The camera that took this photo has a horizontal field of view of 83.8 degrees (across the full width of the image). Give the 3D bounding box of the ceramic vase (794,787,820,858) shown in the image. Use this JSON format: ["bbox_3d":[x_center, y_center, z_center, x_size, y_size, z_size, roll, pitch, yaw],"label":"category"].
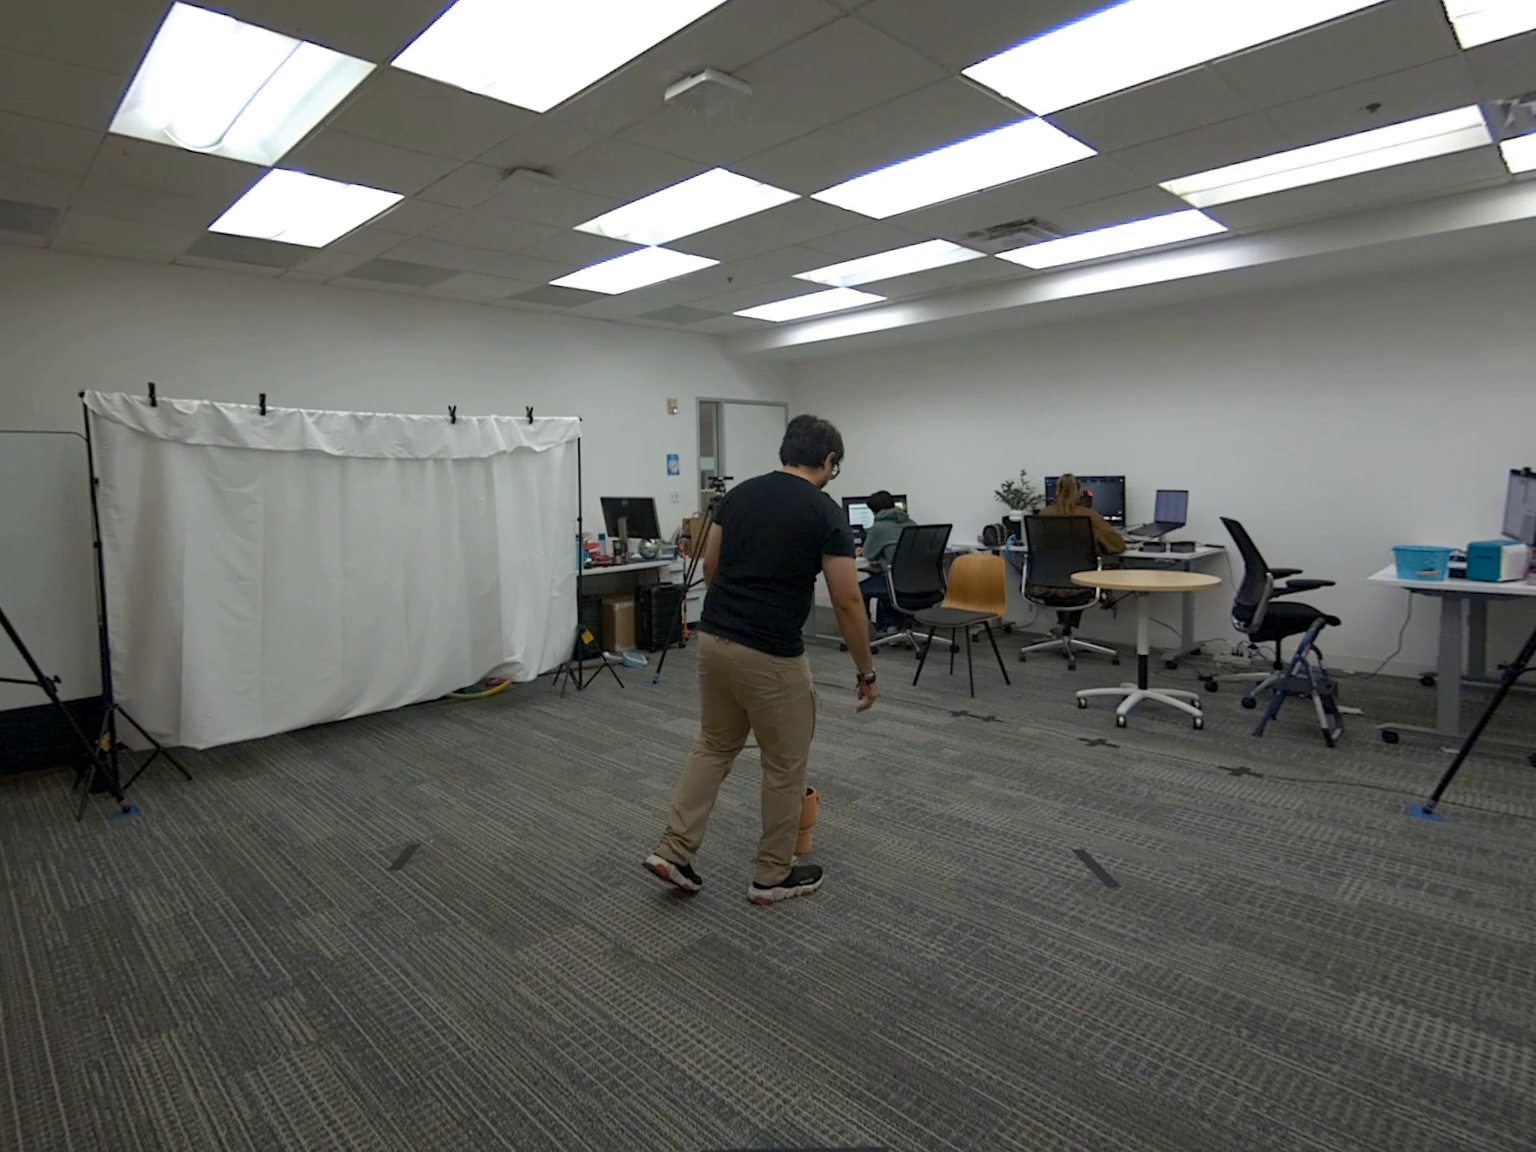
[{"bbox_3d":[0.122,0.912,3.204,0.160,0.219,0.134,0,2,6],"label":"ceramic vase"}]
